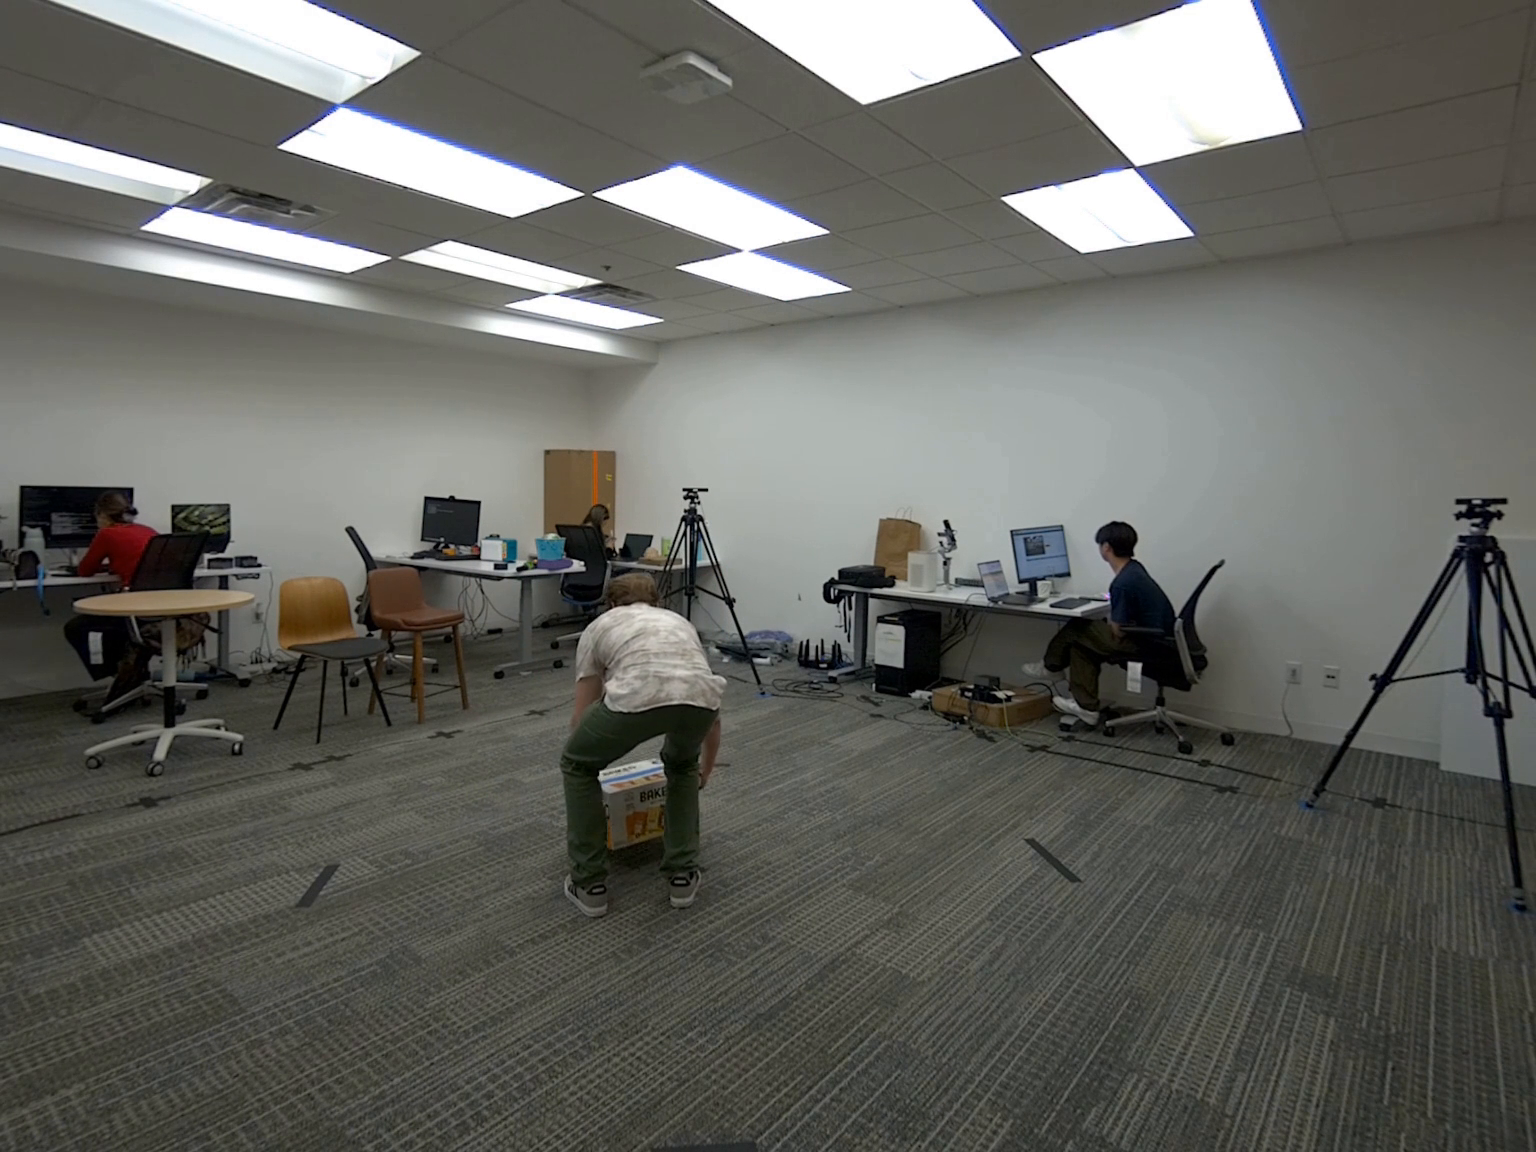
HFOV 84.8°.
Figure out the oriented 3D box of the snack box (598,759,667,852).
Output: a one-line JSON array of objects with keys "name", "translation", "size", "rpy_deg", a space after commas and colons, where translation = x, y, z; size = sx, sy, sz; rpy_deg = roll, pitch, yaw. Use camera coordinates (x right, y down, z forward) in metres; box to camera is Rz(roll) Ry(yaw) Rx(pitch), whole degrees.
[{"name": "snack box", "translation": [-0.522, 0.850, 3.265], "size": [0.393, 0.206, 0.350], "rpy_deg": [-4, 0, -38]}]
